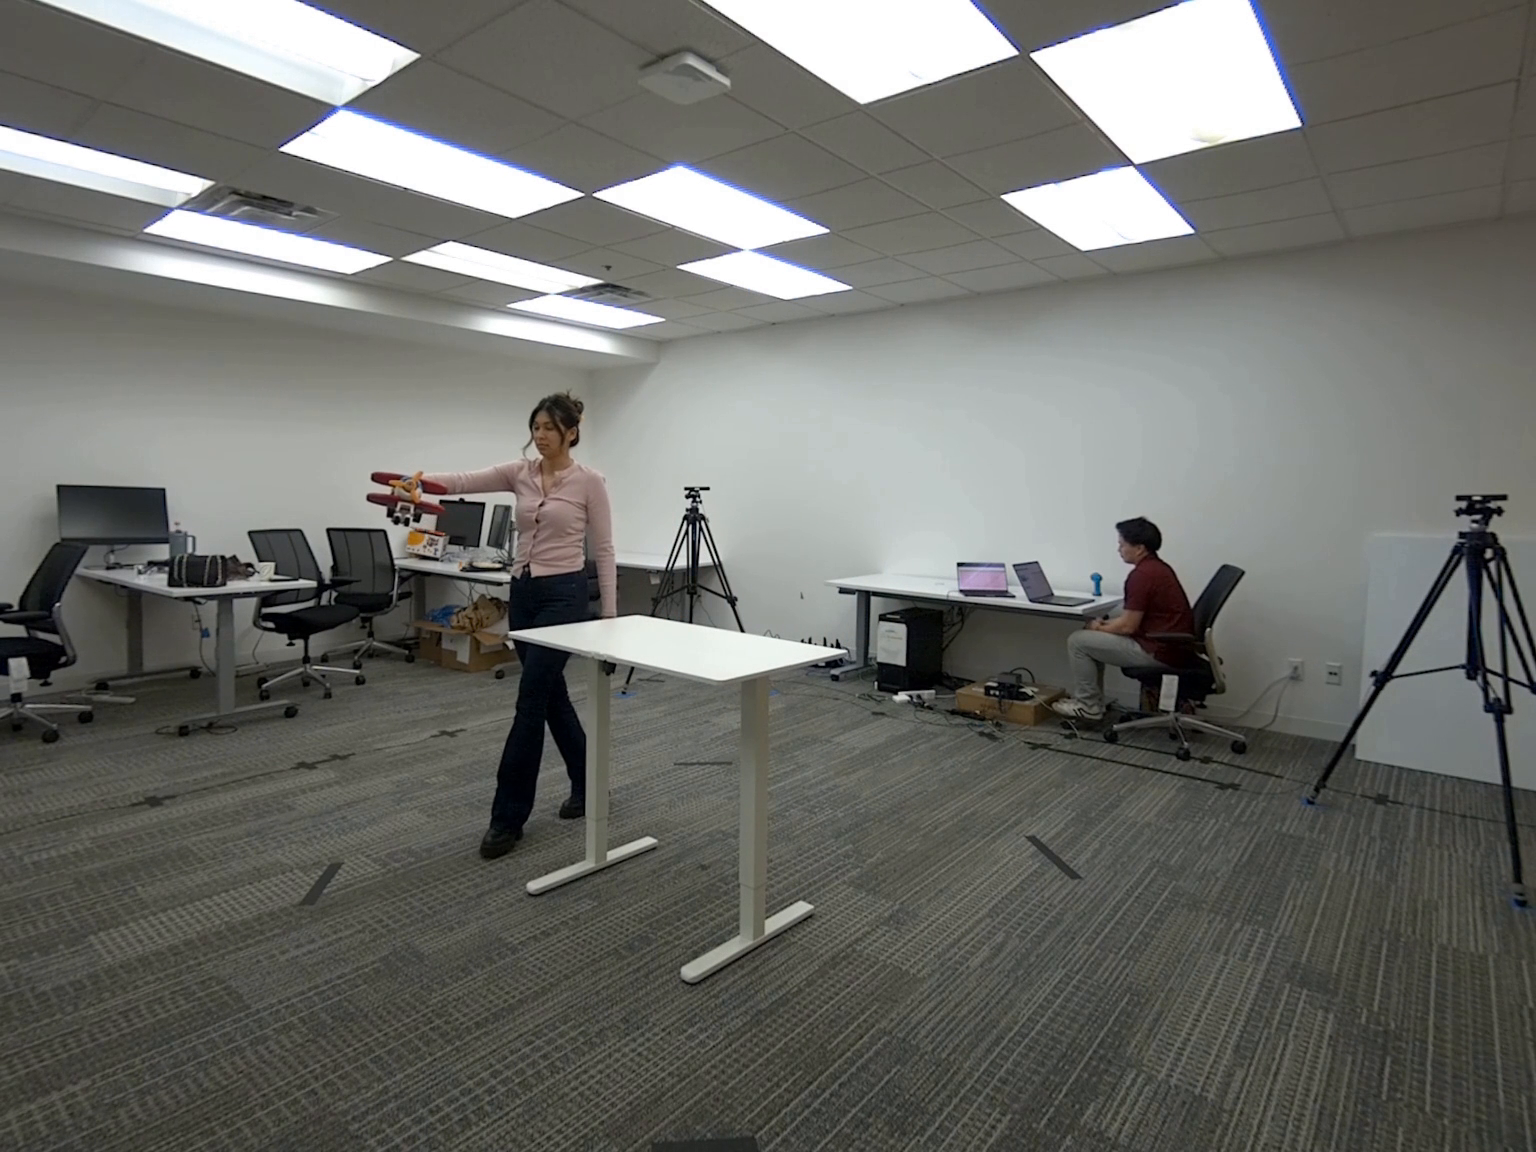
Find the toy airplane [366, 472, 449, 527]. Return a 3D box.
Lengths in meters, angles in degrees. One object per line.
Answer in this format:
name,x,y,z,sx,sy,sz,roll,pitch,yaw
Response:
toy airplane,-1.287,-0.267,2.950,0.268,0.157,0.241,4,-10,38
